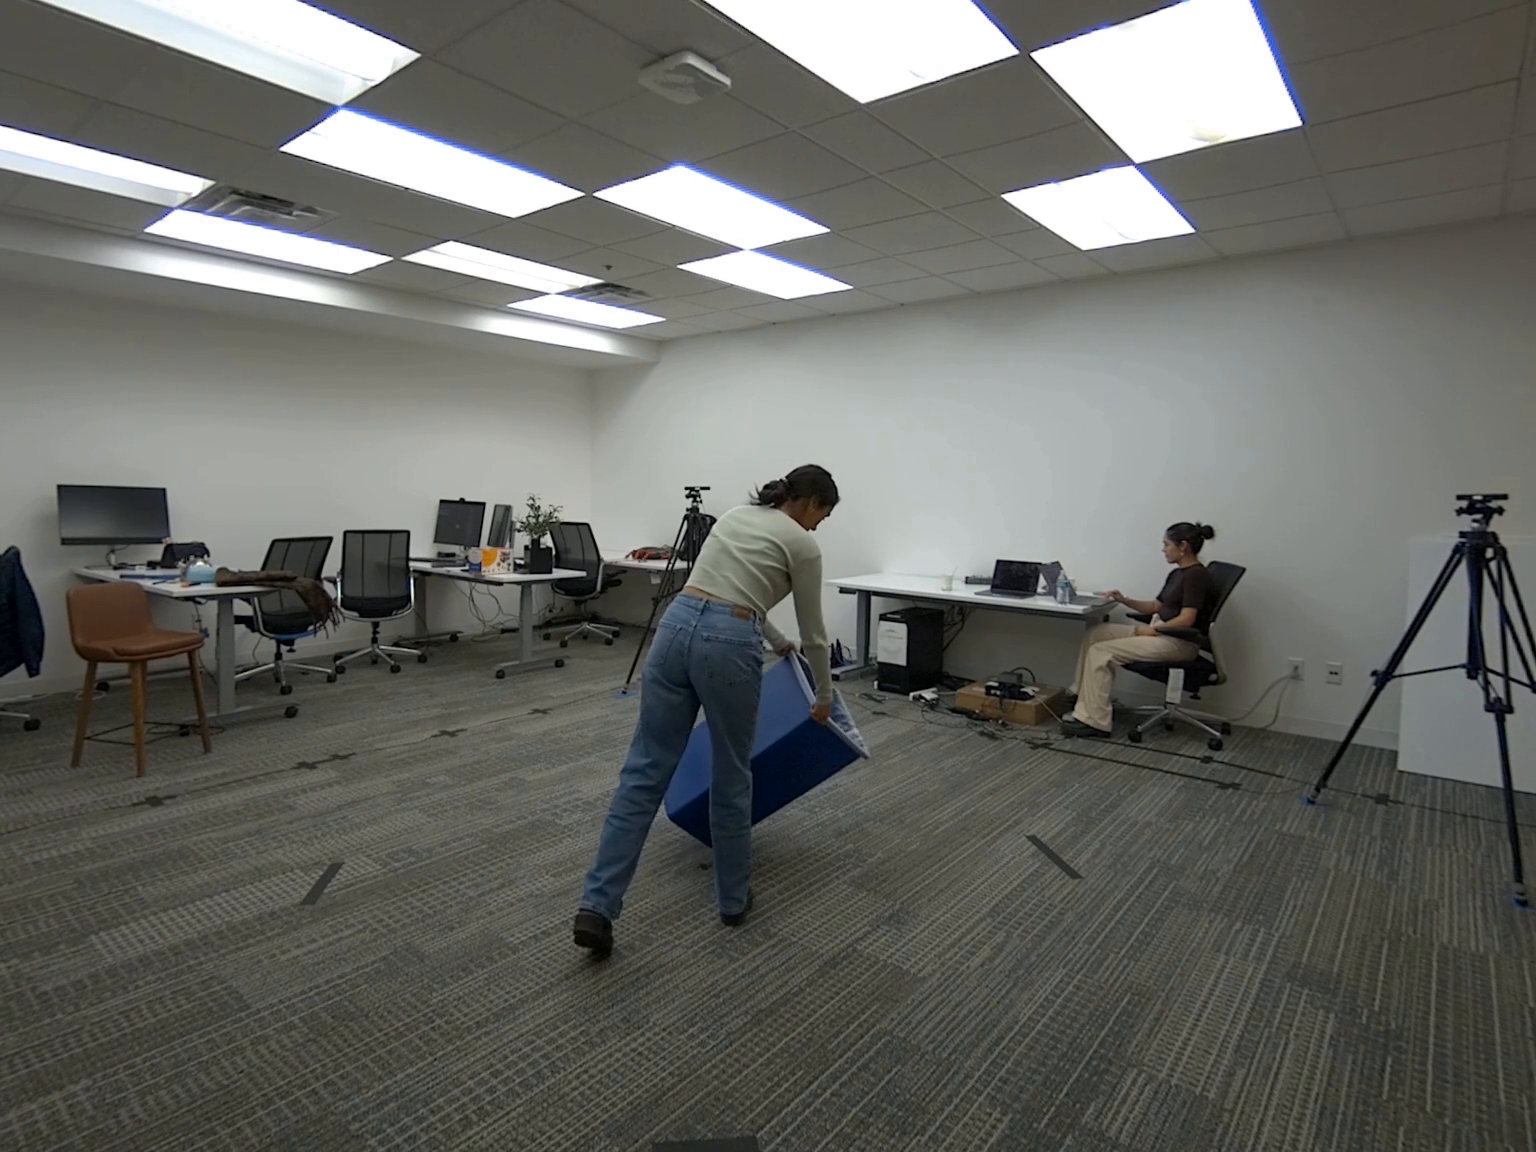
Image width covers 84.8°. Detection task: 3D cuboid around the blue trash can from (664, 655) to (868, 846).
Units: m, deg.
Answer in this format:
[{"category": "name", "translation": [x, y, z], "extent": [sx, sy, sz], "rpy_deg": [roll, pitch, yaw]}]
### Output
[{"category": "blue trash can", "translation": [-0.056, 0.672, 3.229], "extent": [0.359, 0.715, 0.392], "rpy_deg": [46, 12, -37]}]
